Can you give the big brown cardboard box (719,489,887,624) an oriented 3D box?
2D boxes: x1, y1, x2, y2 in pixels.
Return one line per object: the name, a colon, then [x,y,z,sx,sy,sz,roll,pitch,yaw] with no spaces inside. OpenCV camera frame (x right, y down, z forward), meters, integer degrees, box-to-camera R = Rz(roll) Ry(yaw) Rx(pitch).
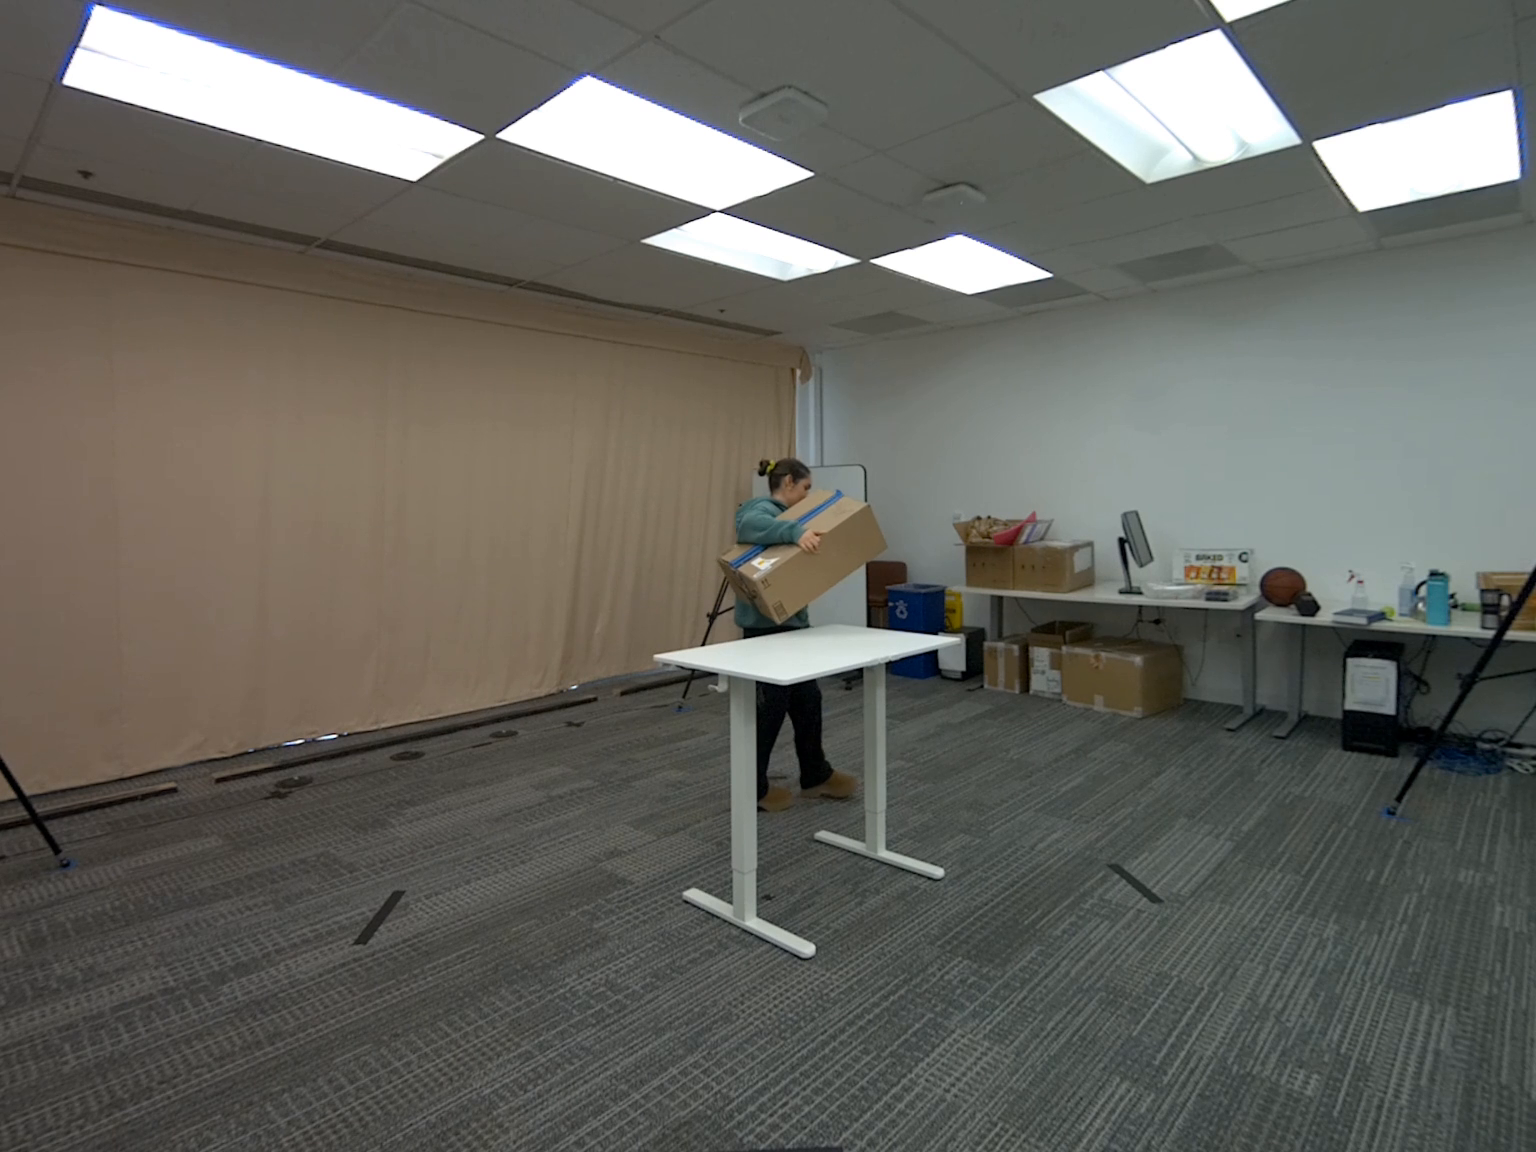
big brown cardboard box: [0.136,-0.098,3.502,0.584,0.228,0.430,-34,24,-14]
